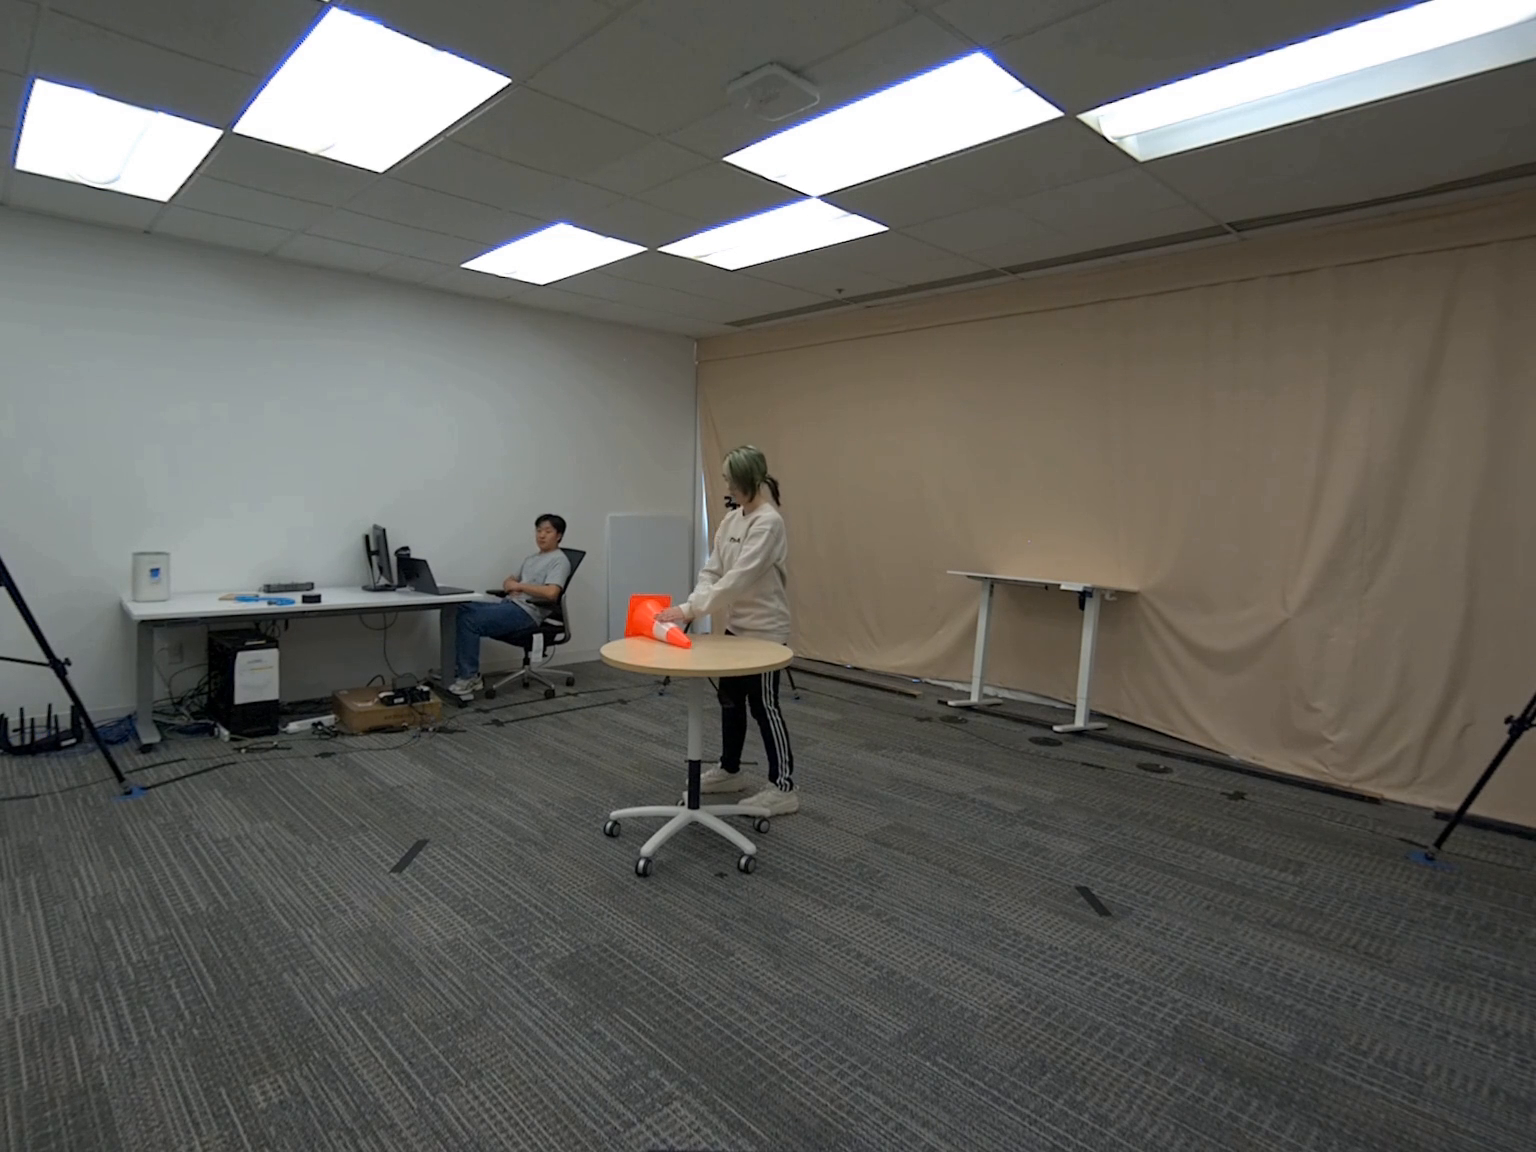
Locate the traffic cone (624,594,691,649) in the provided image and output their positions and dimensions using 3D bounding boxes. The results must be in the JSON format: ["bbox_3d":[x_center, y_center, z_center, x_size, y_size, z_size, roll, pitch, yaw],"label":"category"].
[{"bbox_3d":[-0.436,0.226,3.524,0.199,0.203,0.395,1,14,-34],"label":"traffic cone"}]
